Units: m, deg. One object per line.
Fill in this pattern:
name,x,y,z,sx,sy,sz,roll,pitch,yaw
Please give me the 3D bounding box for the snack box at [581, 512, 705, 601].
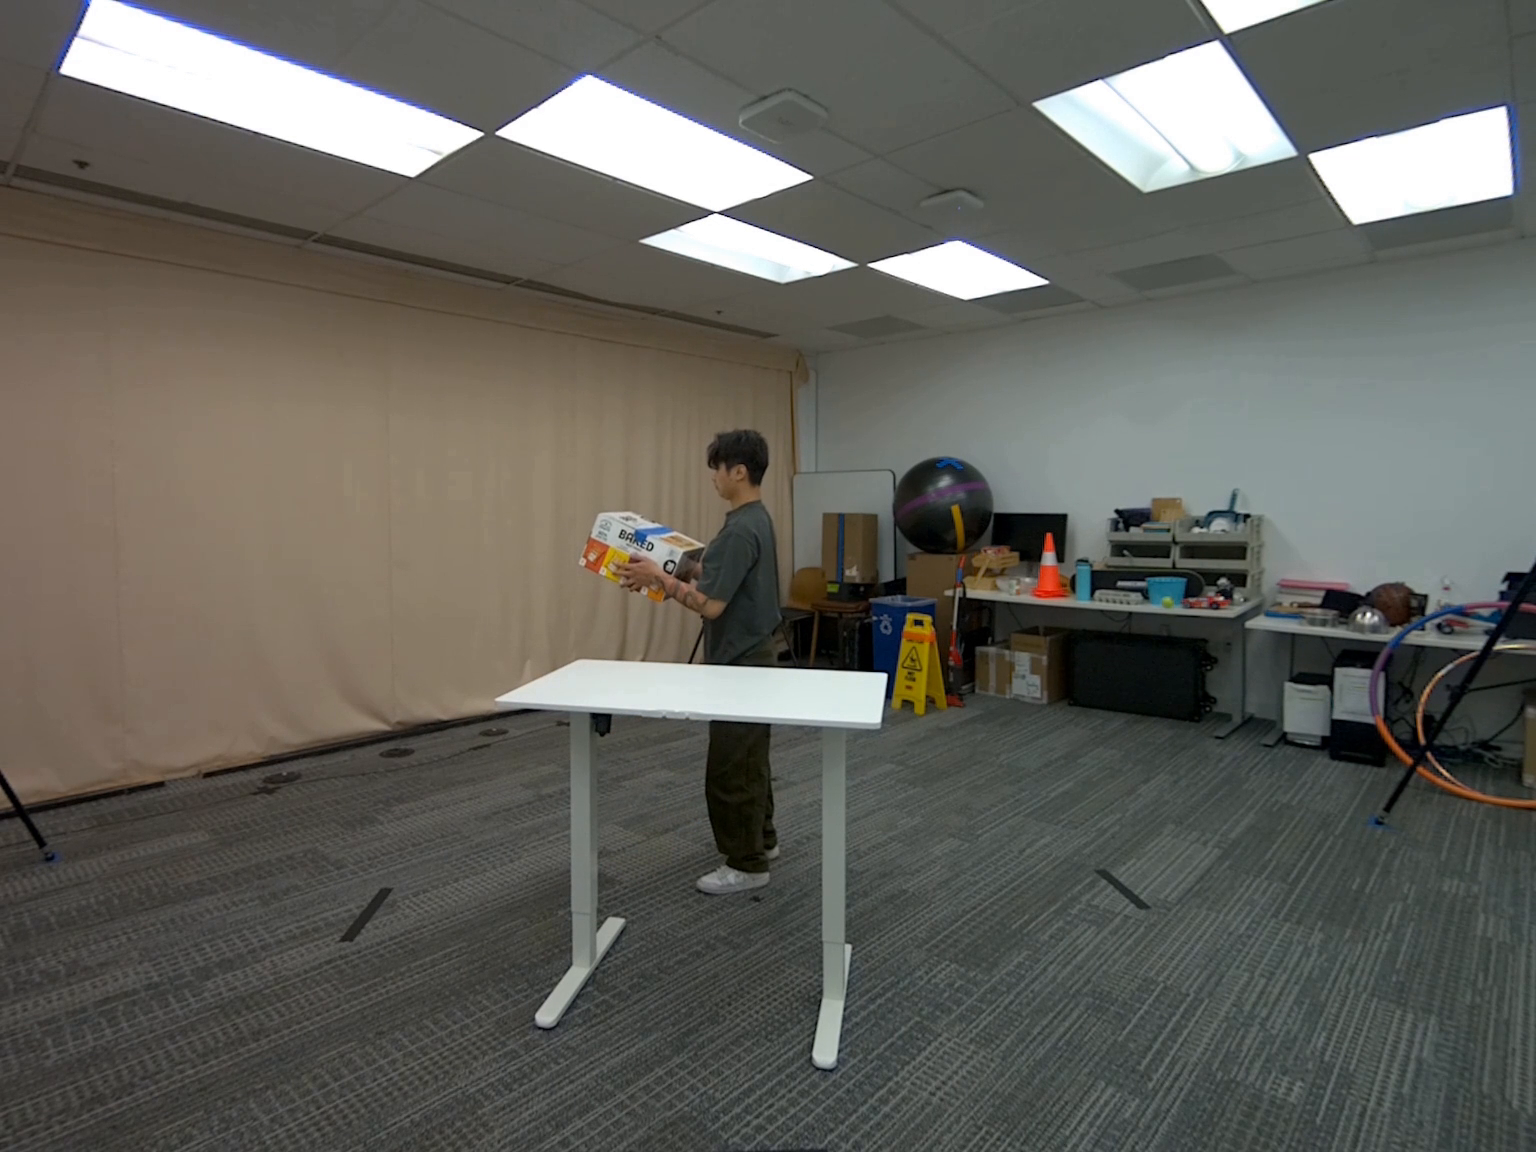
snack box,-0.463,-0.084,3.198,0.344,0.205,0.401,24,7,7
